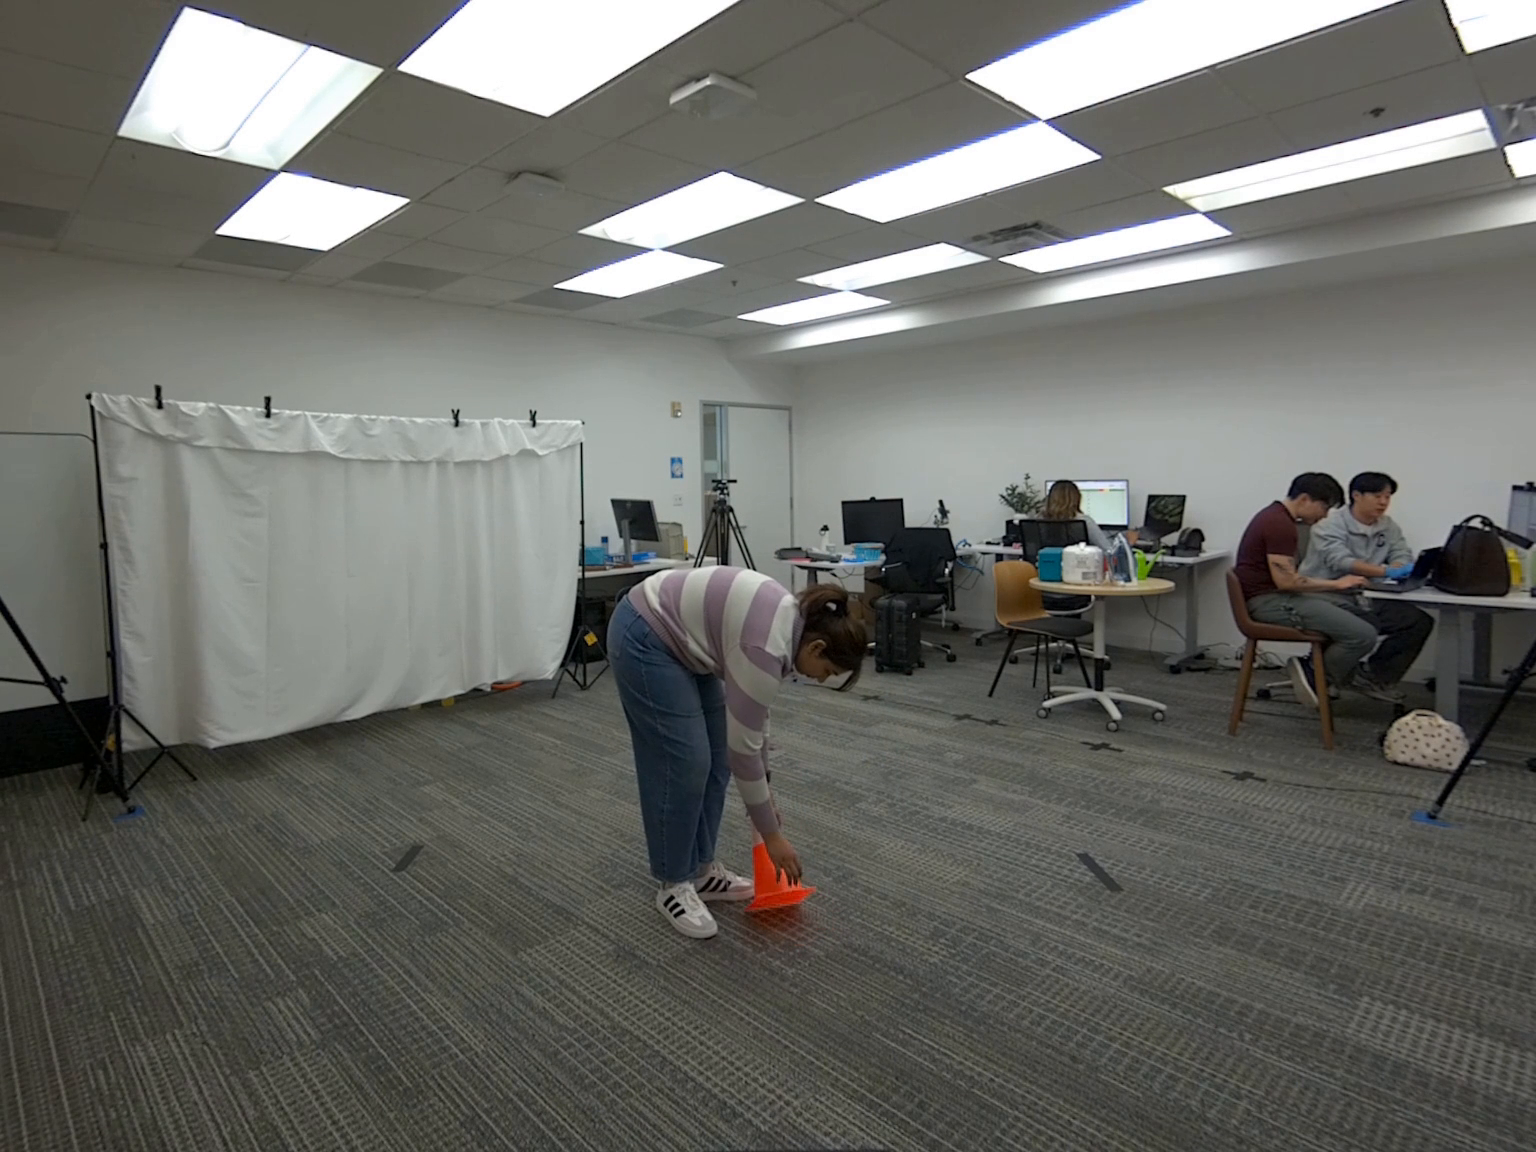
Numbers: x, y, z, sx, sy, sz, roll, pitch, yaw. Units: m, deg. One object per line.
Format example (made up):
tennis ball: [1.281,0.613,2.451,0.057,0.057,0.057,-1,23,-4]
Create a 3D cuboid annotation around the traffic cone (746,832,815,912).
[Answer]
traffic cone: [0.000,0.862,2.798,0.200,0.395,0.202,-4,-33,-17]
